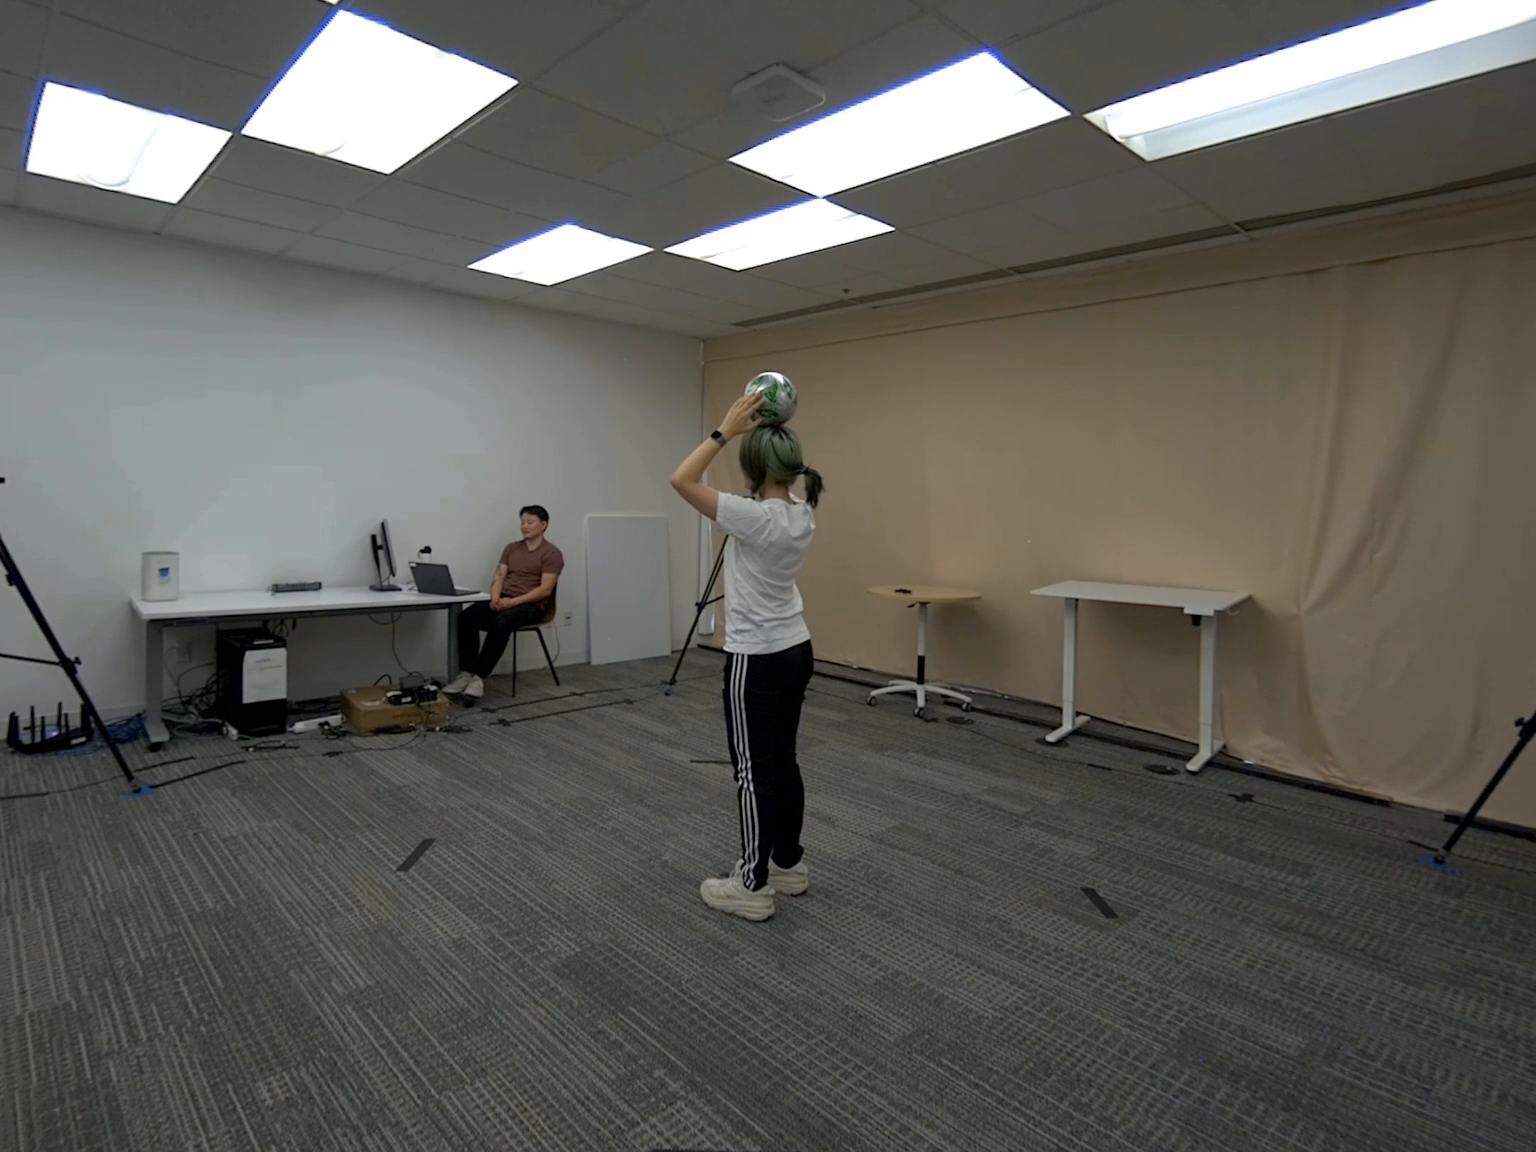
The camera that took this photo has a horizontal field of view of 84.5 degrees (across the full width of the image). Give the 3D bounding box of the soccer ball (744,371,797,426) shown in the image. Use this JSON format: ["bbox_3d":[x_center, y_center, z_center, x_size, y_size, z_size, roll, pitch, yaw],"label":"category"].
[{"bbox_3d":[0.006,-0.595,2.849,0.187,0.187,0.188,1,4,-1],"label":"soccer ball"}]
